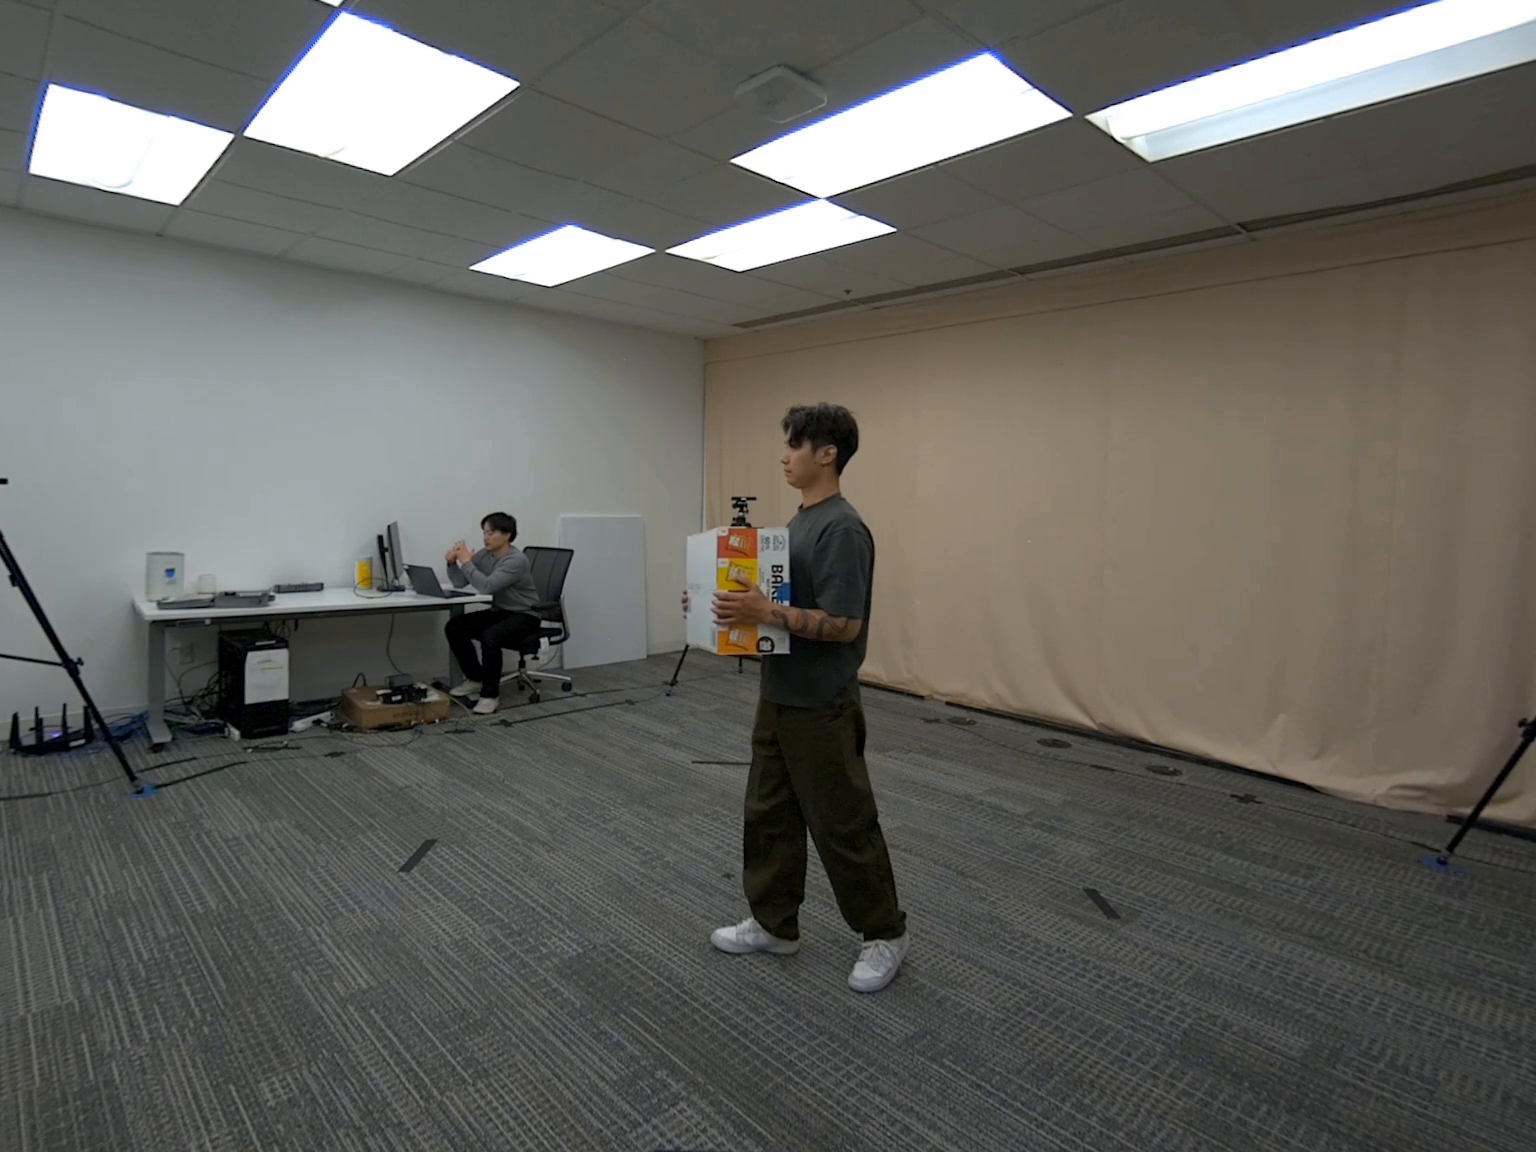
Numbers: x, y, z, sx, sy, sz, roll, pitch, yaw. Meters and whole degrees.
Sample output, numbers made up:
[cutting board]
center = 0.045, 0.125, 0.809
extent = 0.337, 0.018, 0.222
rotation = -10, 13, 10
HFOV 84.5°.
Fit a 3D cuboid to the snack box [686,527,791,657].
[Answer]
[snack box]
center = -0.100, 0.044, 2.439
extent = 0.203, 0.341, 0.409
rotation = 1, -2, -17
